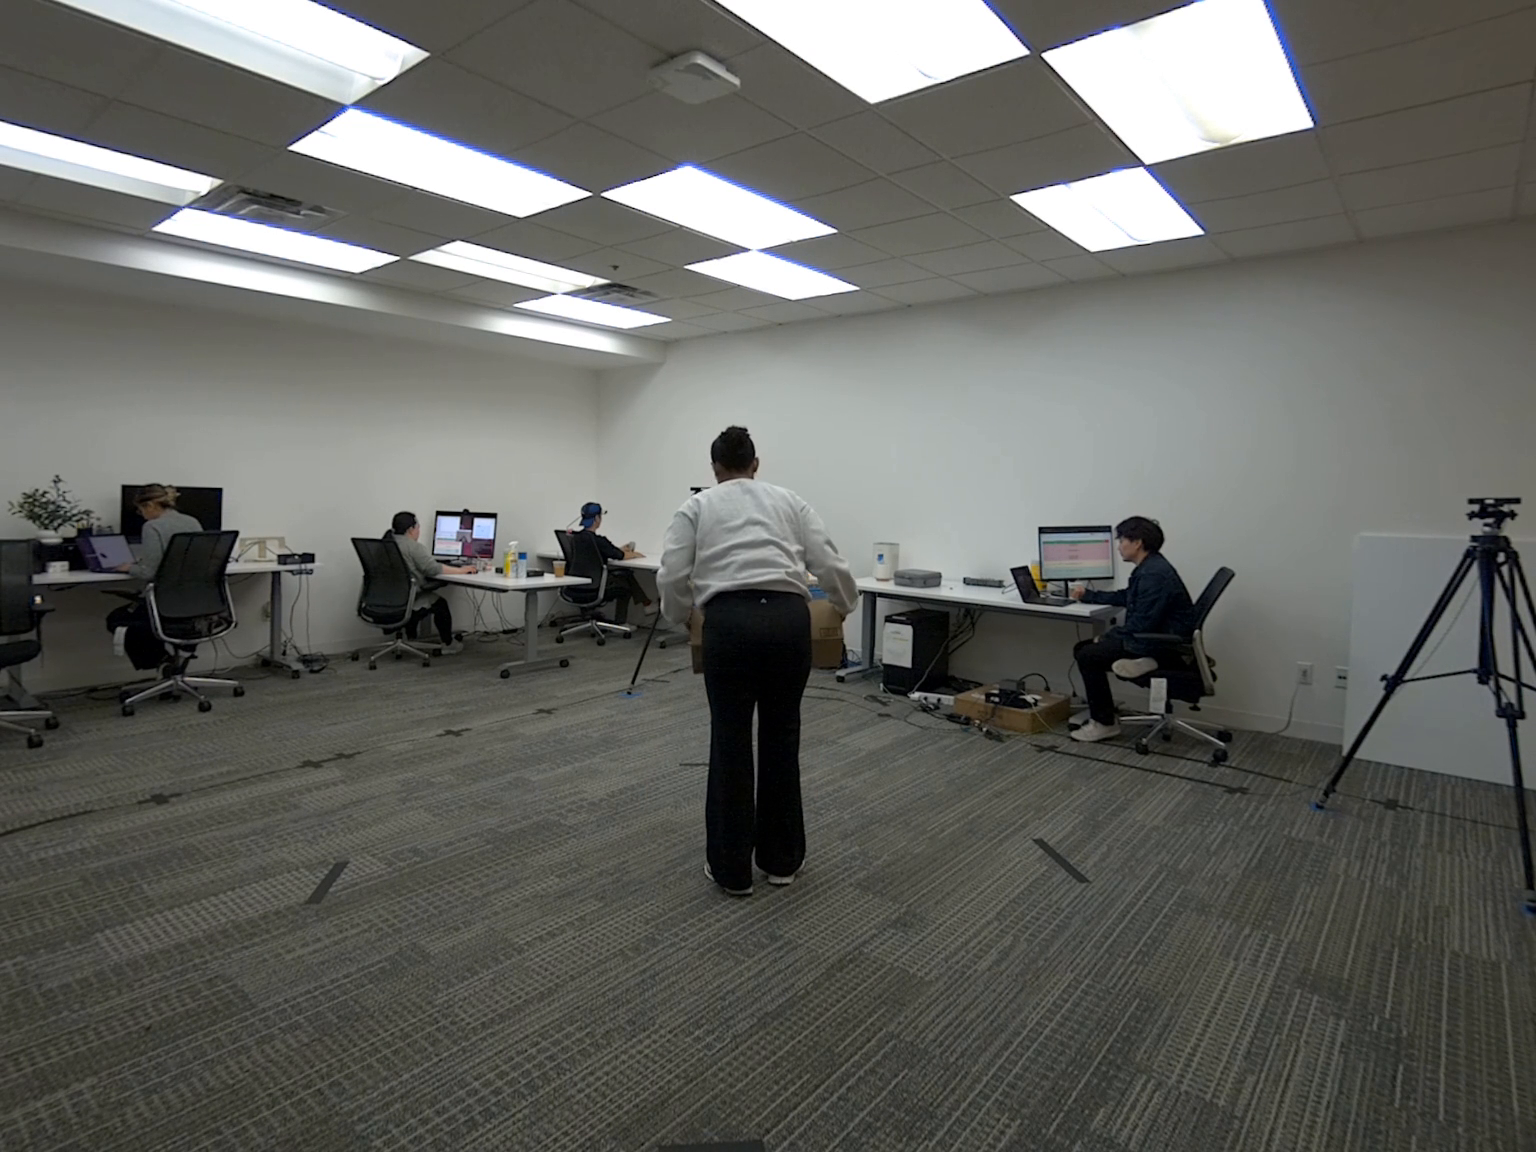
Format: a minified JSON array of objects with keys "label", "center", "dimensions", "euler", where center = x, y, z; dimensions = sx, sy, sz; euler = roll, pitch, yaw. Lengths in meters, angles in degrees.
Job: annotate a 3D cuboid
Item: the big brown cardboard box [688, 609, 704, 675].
[{"label":"big brown cardboard box","center":[-0.026,0.140,3.326],"dimensions":[0.589,0.430,0.226],"euler":[-4,-38,-1]}]
